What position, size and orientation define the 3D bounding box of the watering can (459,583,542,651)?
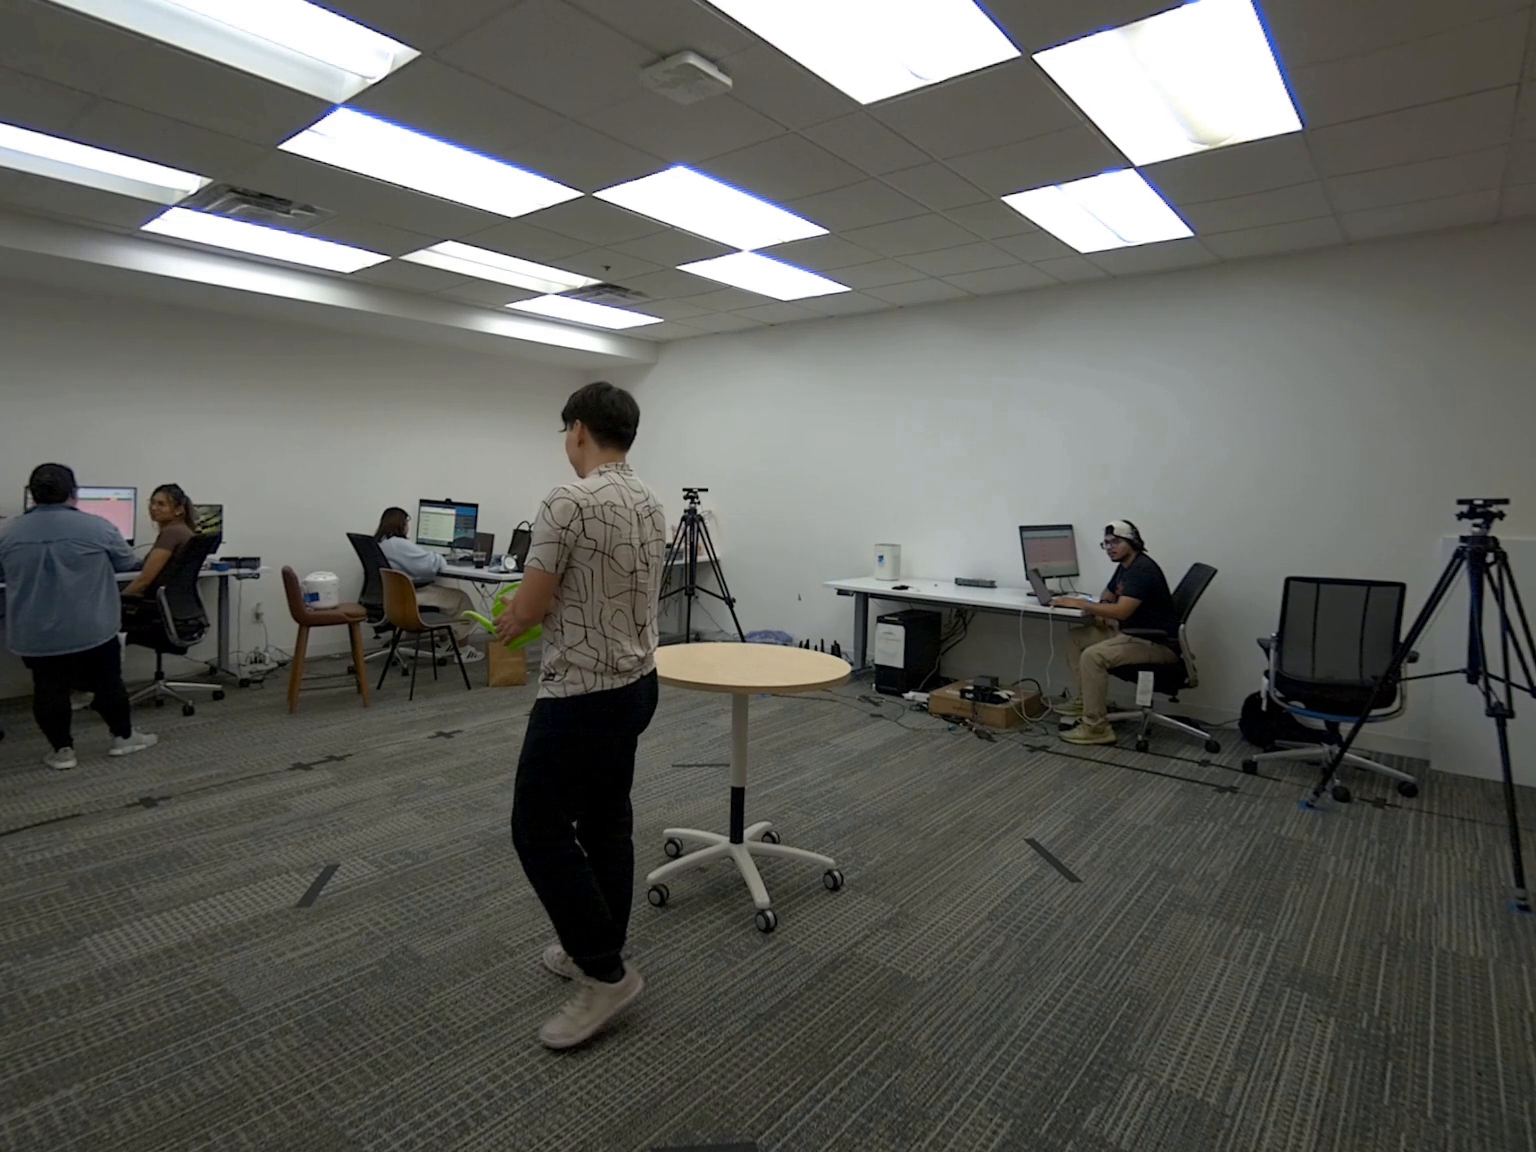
[{"bbox_3d":[-0.776,0.132,2.499,0.281,0.179,0.095,-29,-12,34],"label":"watering can"}]
